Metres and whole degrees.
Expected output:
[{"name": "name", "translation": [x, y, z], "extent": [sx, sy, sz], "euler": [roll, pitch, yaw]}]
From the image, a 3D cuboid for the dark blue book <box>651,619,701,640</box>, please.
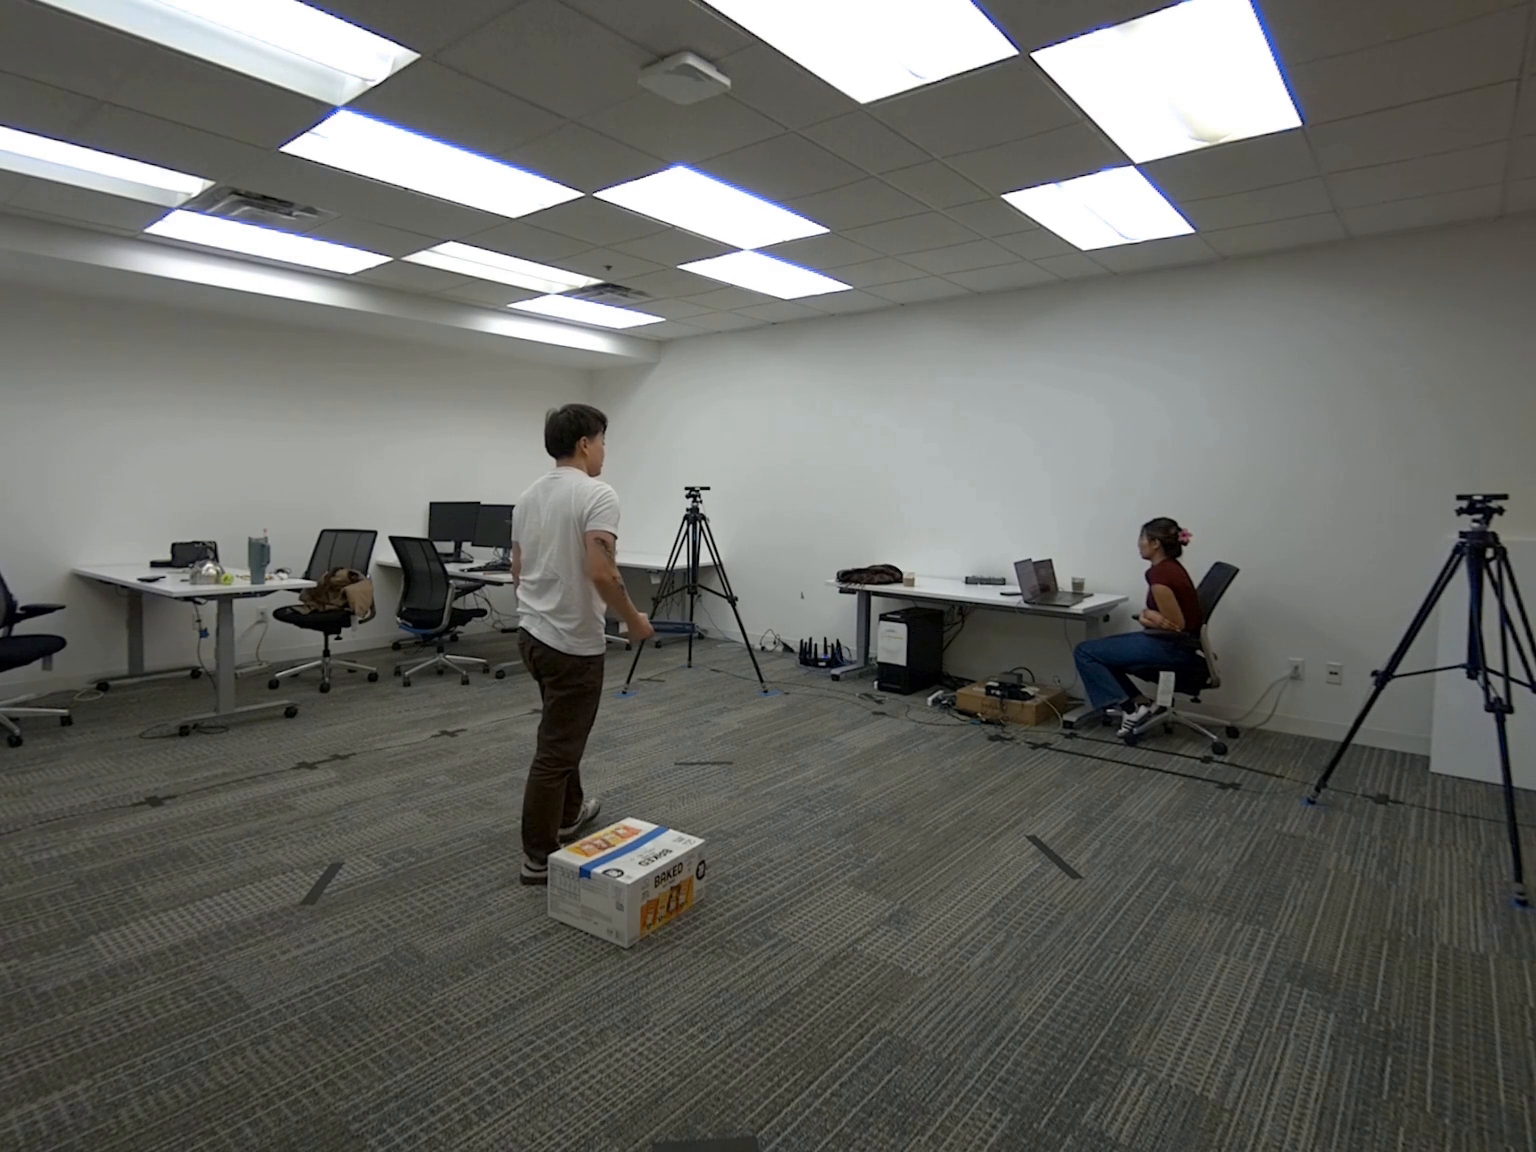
[{"name": "dark blue book", "translation": [-0.426, 0.194, 3.161], "extent": [0.238, 0.045, 0.166], "euler": [3, -8, -28]}]
